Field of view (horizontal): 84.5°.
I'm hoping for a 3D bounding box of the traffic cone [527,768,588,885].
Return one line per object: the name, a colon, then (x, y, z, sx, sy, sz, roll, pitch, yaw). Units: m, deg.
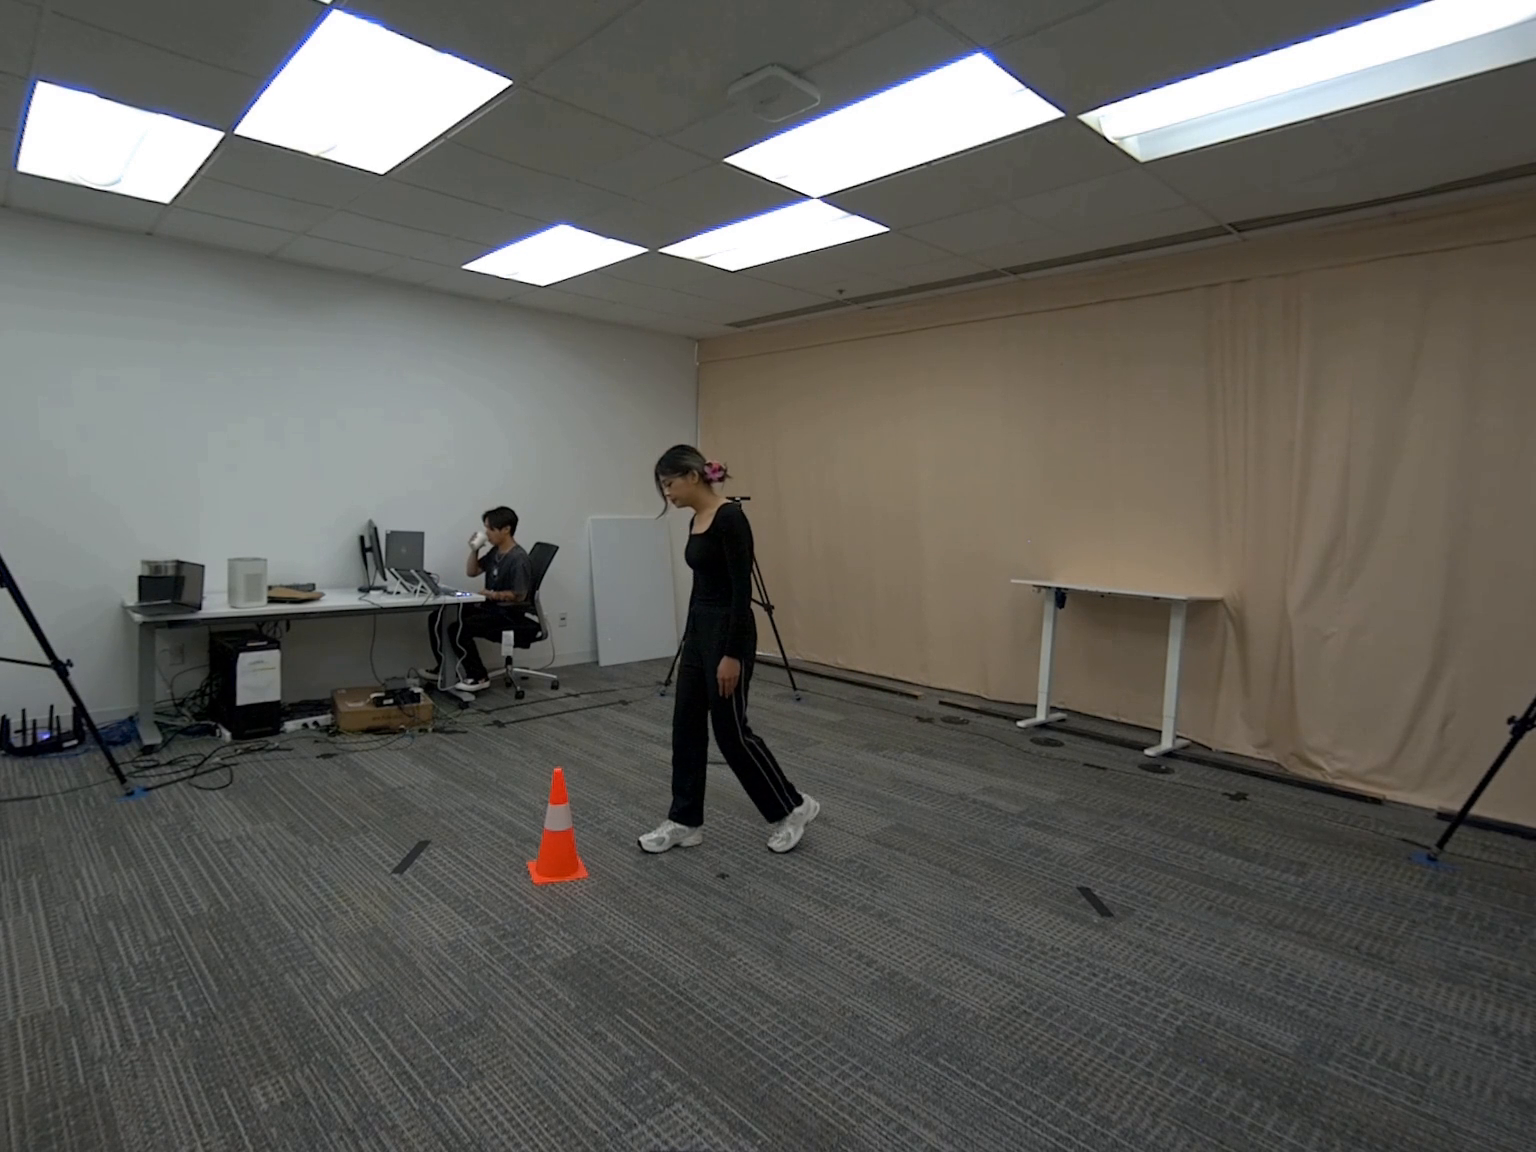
traffic cone: (-0.790, 0.907, 3.113, 0.202, 0.382, 0.207, -1, 4, -21)
